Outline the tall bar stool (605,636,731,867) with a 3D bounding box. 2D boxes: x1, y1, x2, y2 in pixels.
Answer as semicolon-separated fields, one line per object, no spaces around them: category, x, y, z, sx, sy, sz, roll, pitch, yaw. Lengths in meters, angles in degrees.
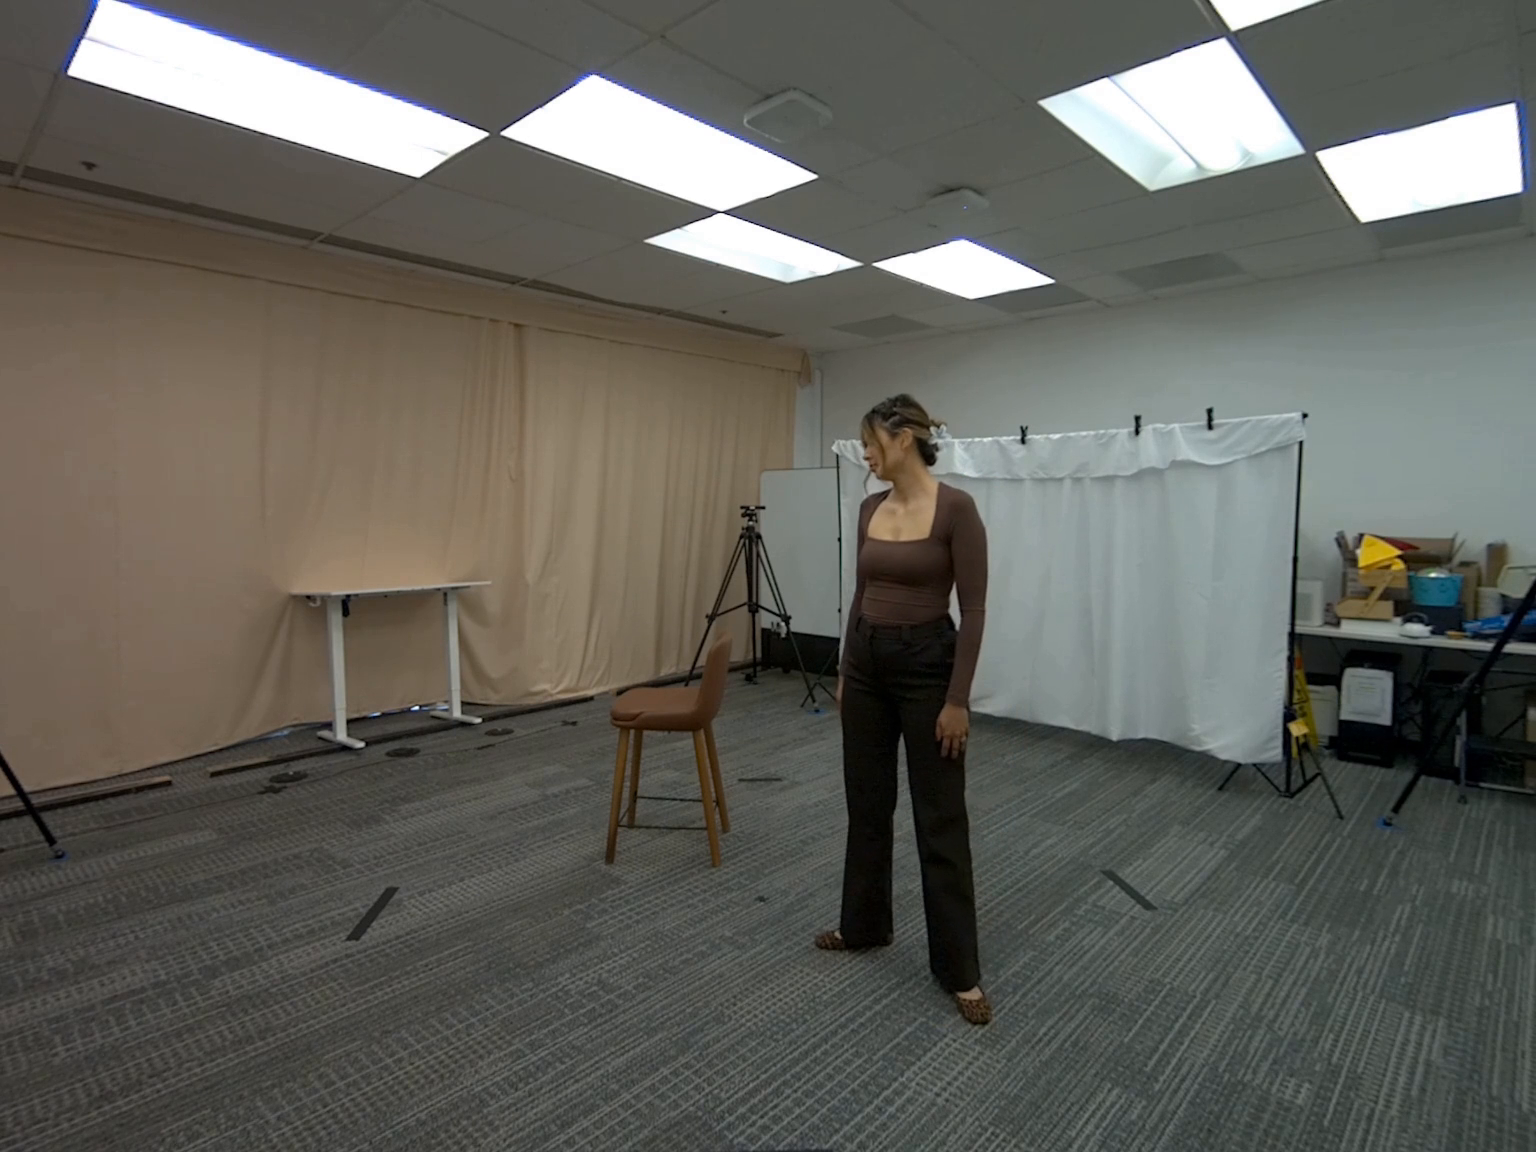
tall bar stool;-0.398;0.675;3.436;0.471;0.888;0.454;1;3;5
